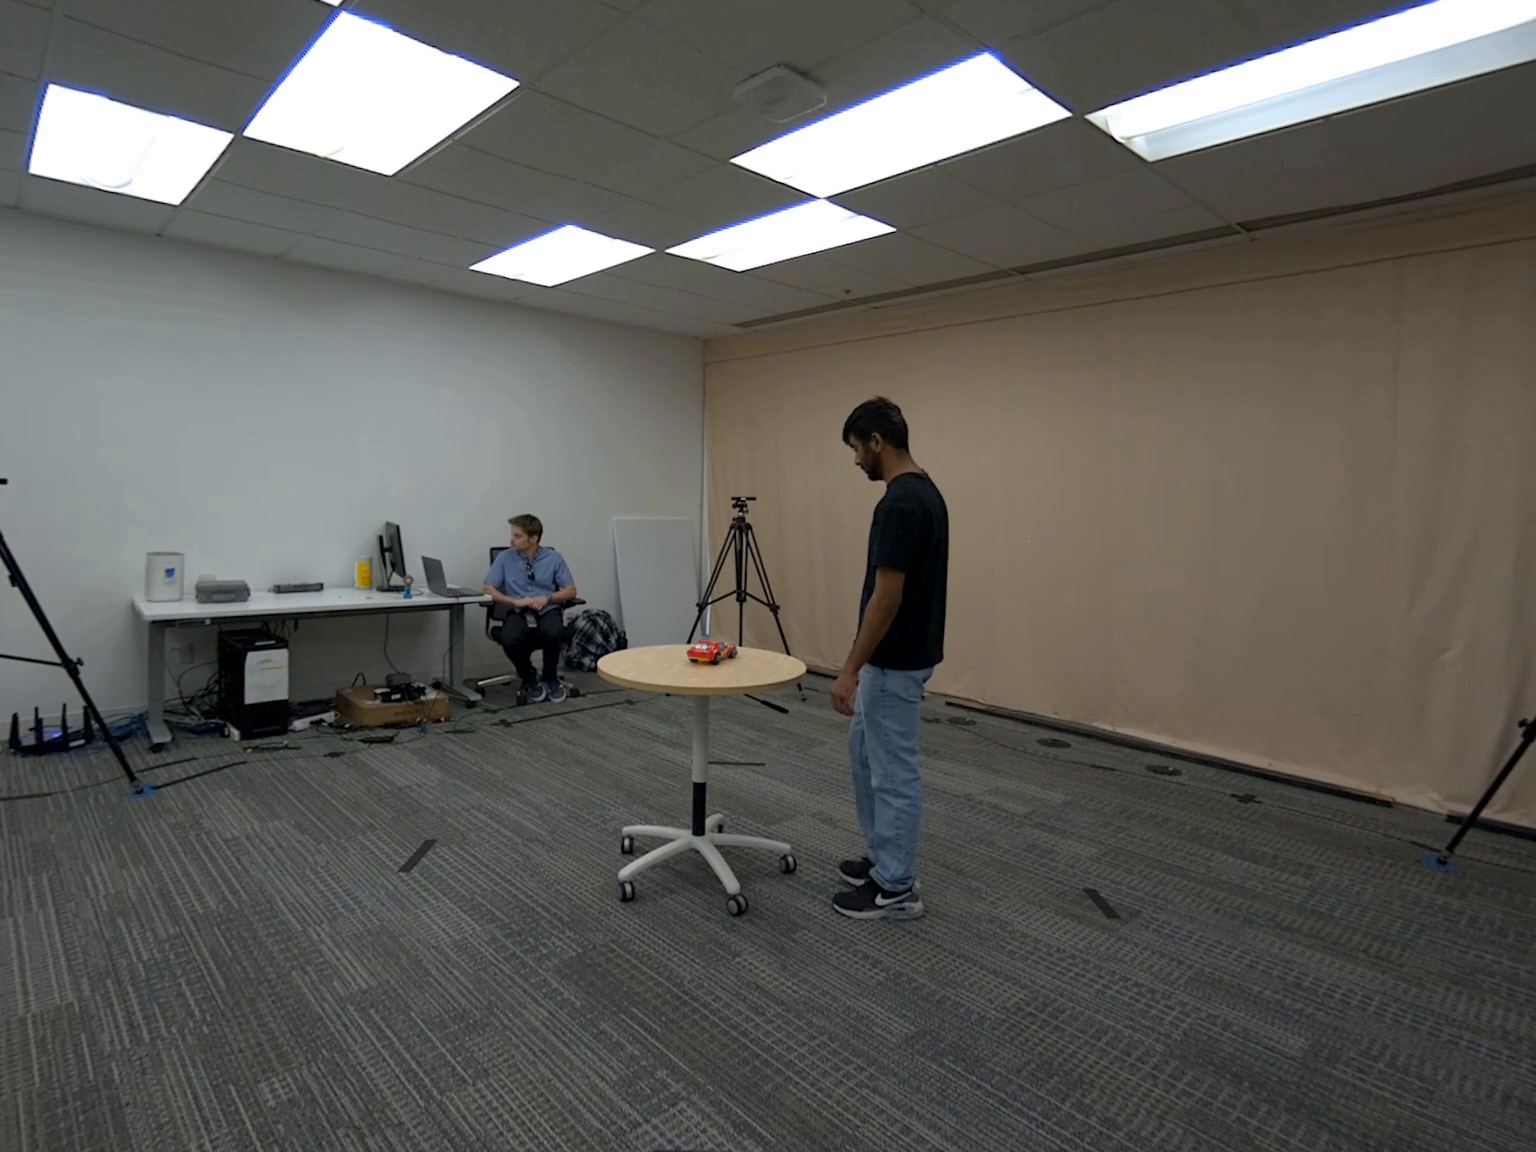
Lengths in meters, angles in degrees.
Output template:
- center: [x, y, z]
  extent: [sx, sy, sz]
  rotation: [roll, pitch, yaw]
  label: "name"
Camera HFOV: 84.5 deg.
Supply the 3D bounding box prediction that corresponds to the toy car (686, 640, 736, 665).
- center: [-0.224, 0.286, 3.150]
  extent: [0.133, 0.083, 0.249]
  rotation: [5, -5, 22]
  label: "toy car"
